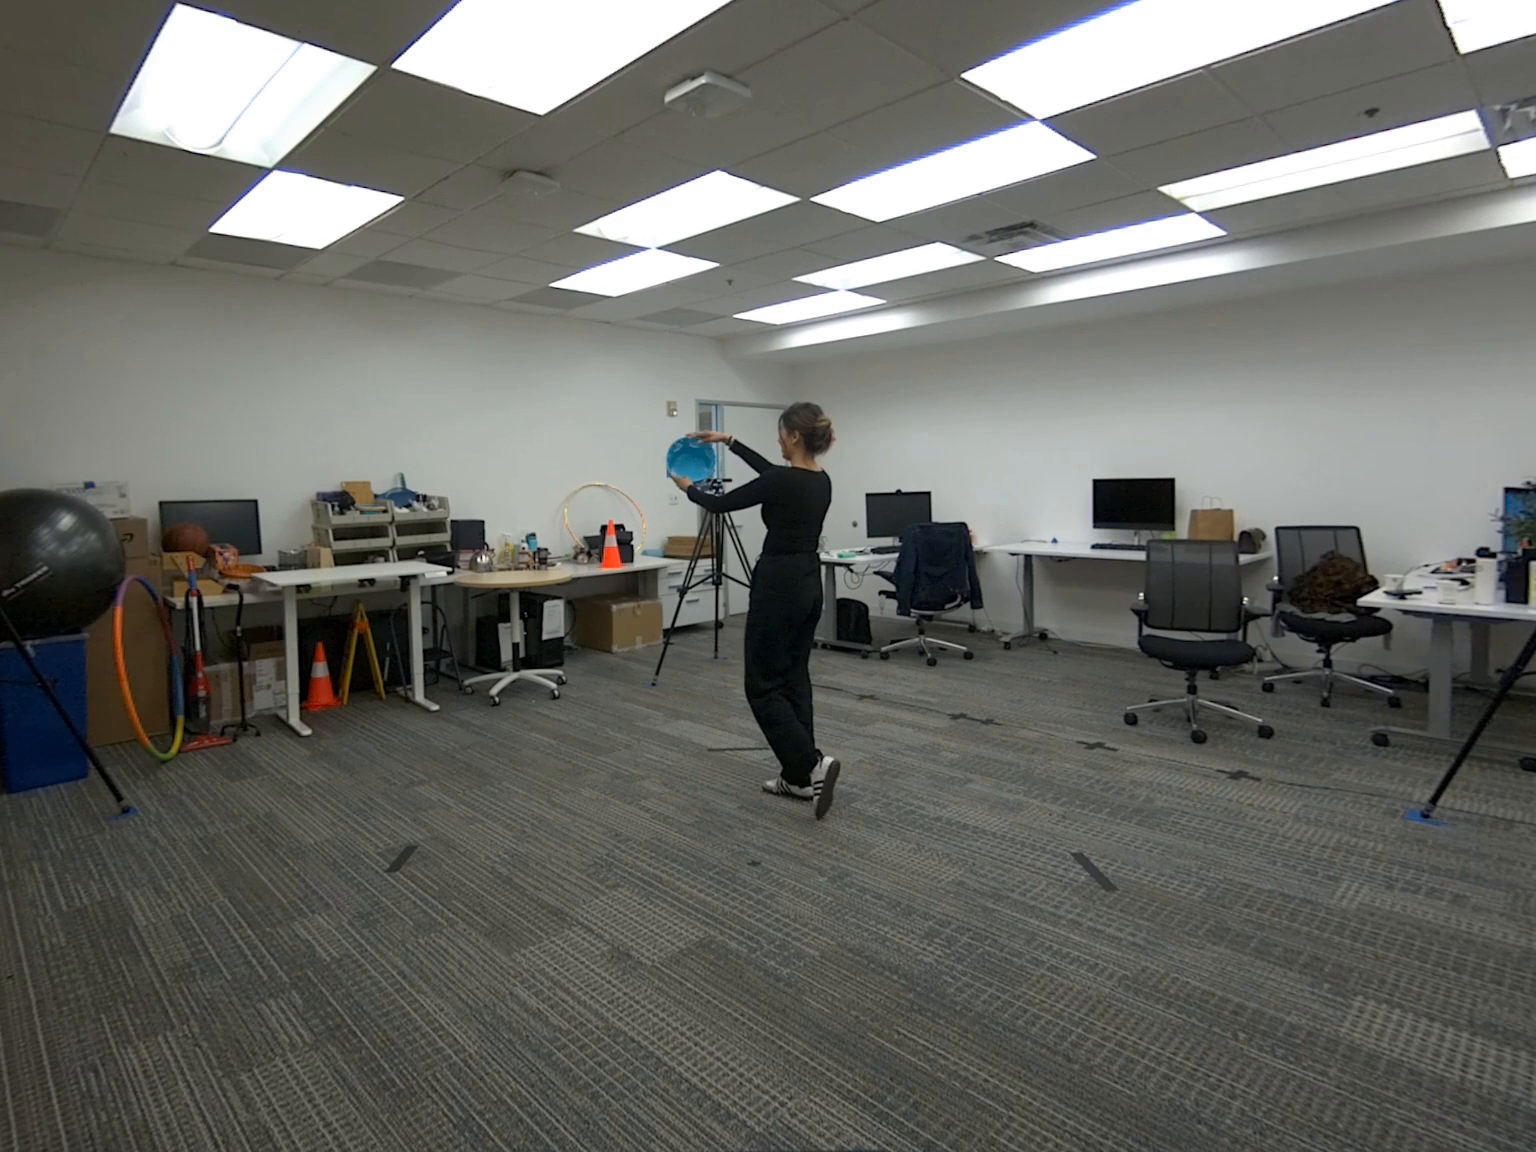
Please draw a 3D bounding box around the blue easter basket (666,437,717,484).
[{"bbox_3d":[-0.349,-0.518,3.996,0.242,0.248,0.154,-2,-18,-8],"label":"blue easter basket"}]
